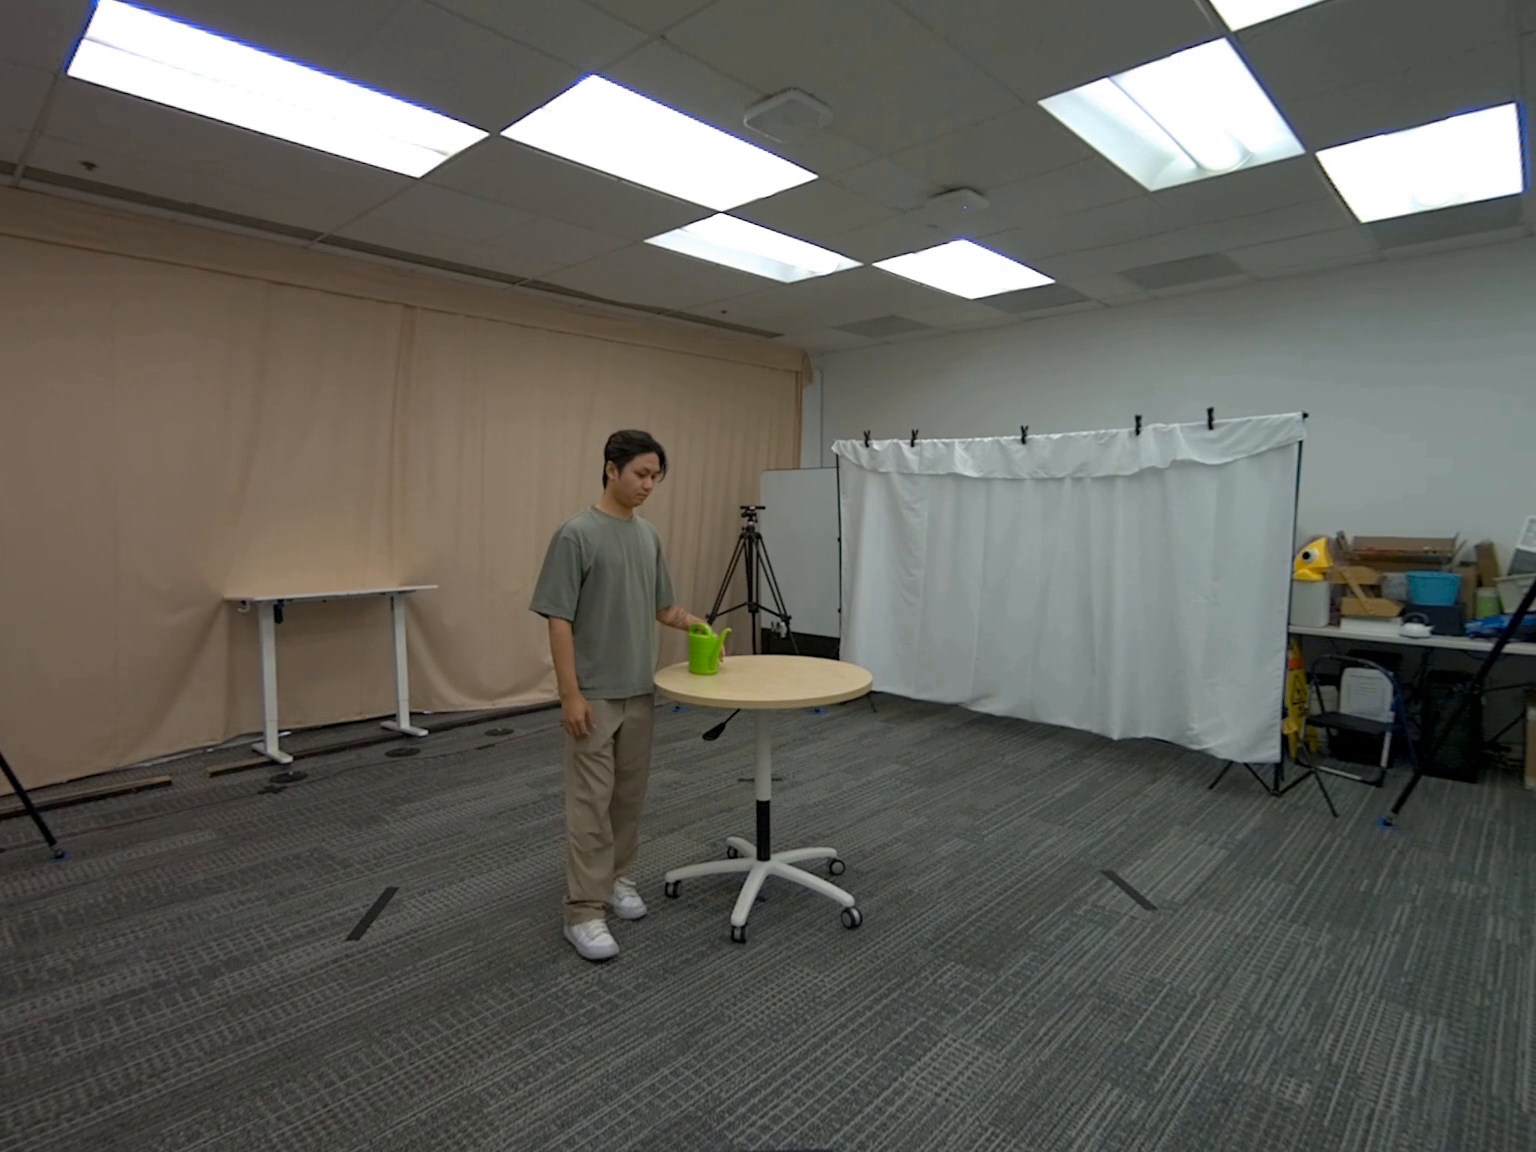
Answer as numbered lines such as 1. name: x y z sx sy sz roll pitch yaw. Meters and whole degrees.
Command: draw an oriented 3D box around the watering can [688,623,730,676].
1. watering can: -0.213 0.265 2.974 0.096 0.176 0.285 0 4 -23
